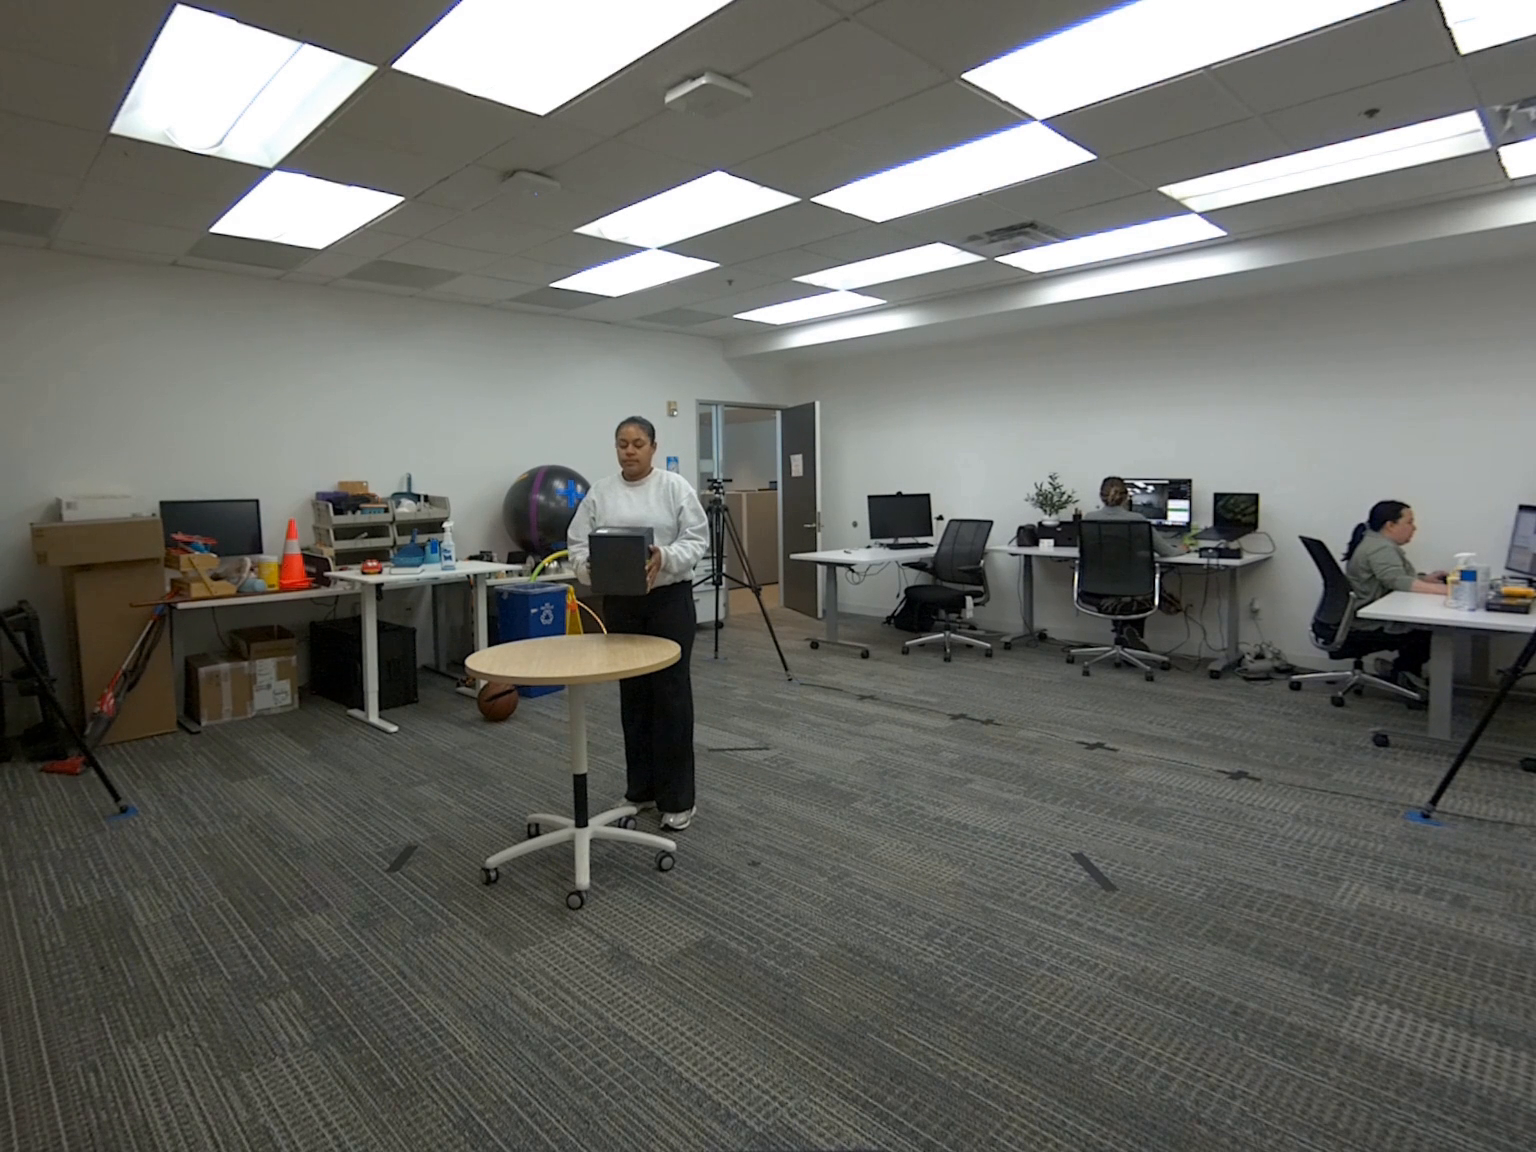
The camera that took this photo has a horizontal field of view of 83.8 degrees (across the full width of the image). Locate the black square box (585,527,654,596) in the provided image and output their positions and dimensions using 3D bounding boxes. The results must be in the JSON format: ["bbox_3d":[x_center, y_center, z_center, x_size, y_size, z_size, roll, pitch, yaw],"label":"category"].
[{"bbox_3d":[-0.551,-0.063,3.235,0.218,0.225,0.157,1,14,4],"label":"black square box"}]
